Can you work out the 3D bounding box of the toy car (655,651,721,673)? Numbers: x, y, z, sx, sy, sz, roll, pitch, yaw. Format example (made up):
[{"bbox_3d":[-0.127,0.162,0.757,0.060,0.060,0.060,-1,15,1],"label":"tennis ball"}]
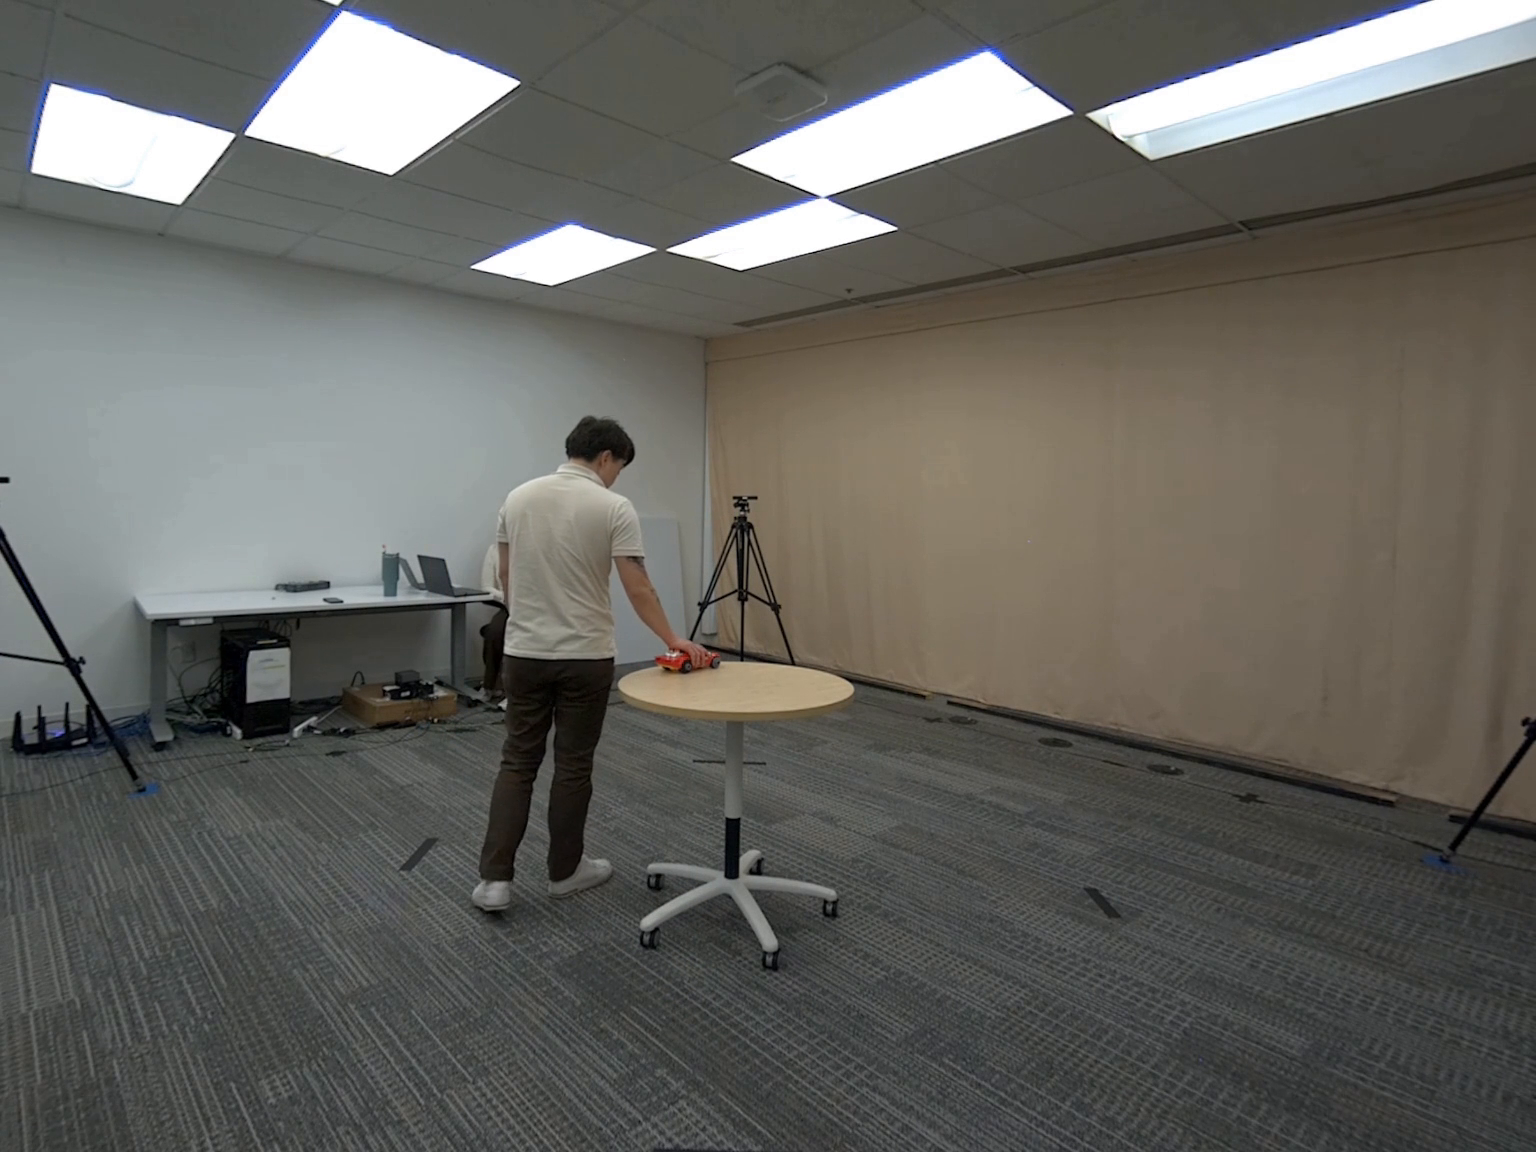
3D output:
[{"bbox_3d":[-0.291,0.303,2.958,0.134,0.083,0.247,6,-4,41],"label":"toy car"}]
